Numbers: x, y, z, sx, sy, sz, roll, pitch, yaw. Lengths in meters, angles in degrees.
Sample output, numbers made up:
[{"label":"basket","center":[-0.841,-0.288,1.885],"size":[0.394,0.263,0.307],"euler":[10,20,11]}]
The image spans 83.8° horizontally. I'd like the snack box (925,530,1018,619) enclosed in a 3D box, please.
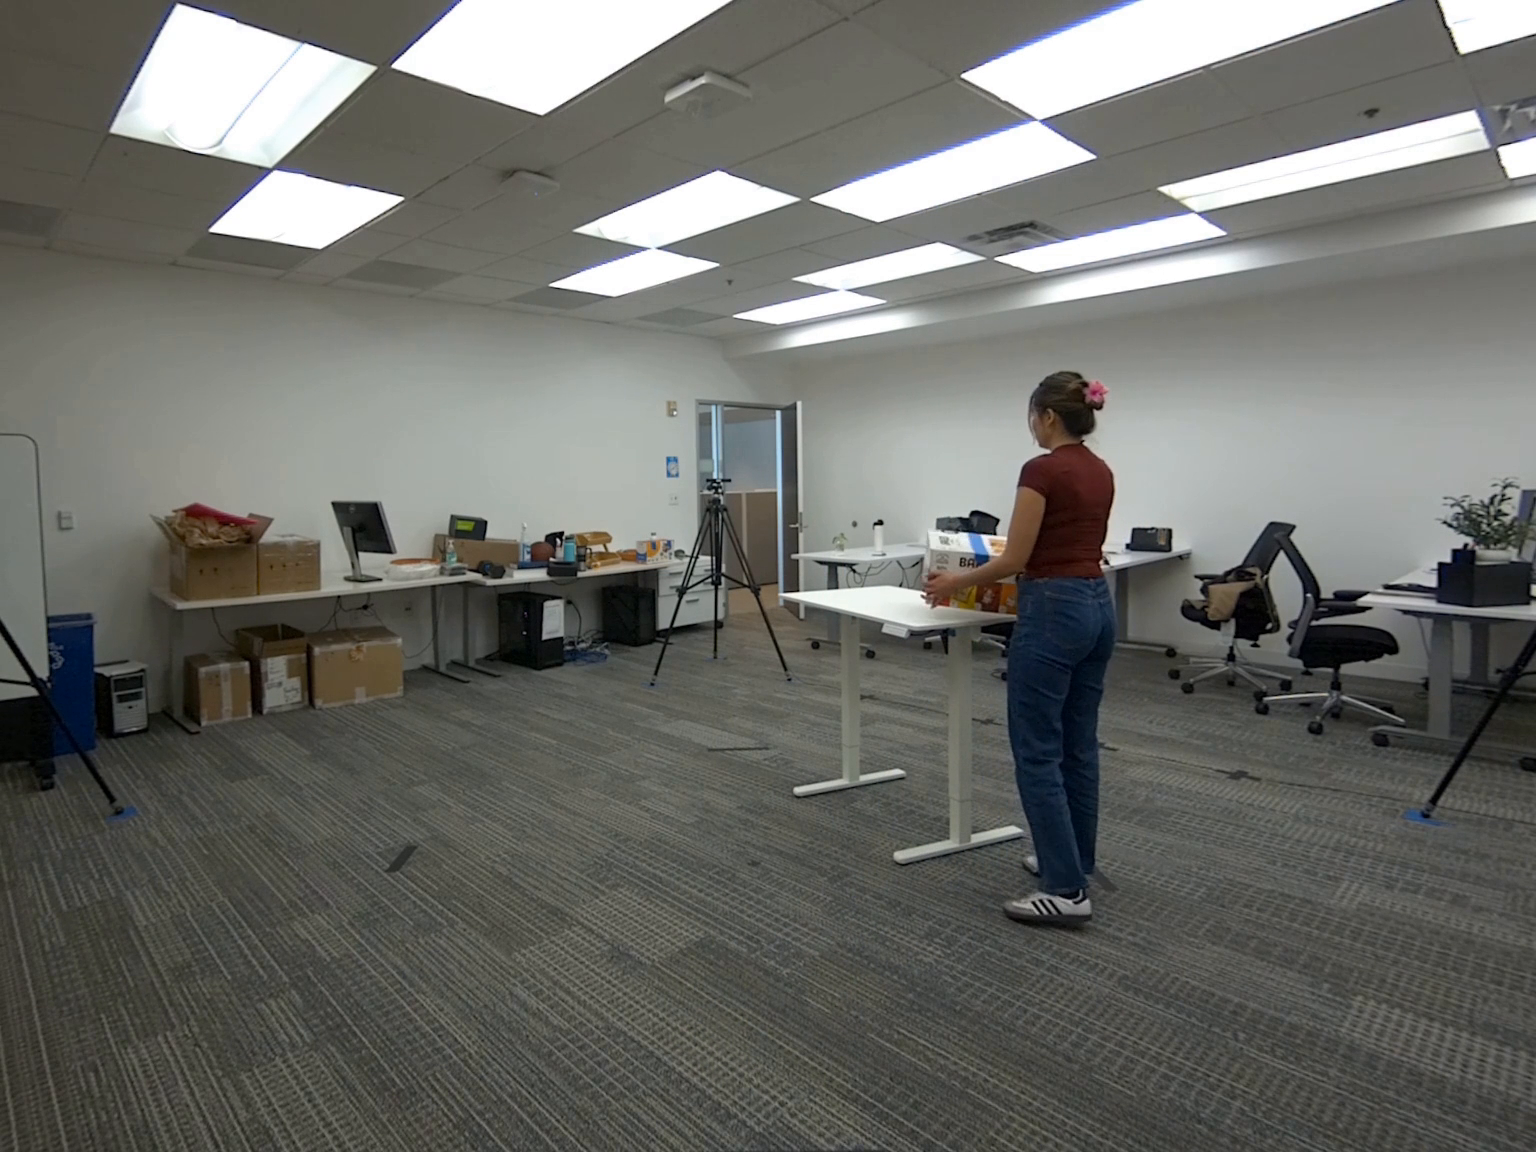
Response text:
[{"label":"snack box","center":[0.759,-0.020,3.164],"size":[0.344,0.203,0.405],"euler":[6,13,9]}]
